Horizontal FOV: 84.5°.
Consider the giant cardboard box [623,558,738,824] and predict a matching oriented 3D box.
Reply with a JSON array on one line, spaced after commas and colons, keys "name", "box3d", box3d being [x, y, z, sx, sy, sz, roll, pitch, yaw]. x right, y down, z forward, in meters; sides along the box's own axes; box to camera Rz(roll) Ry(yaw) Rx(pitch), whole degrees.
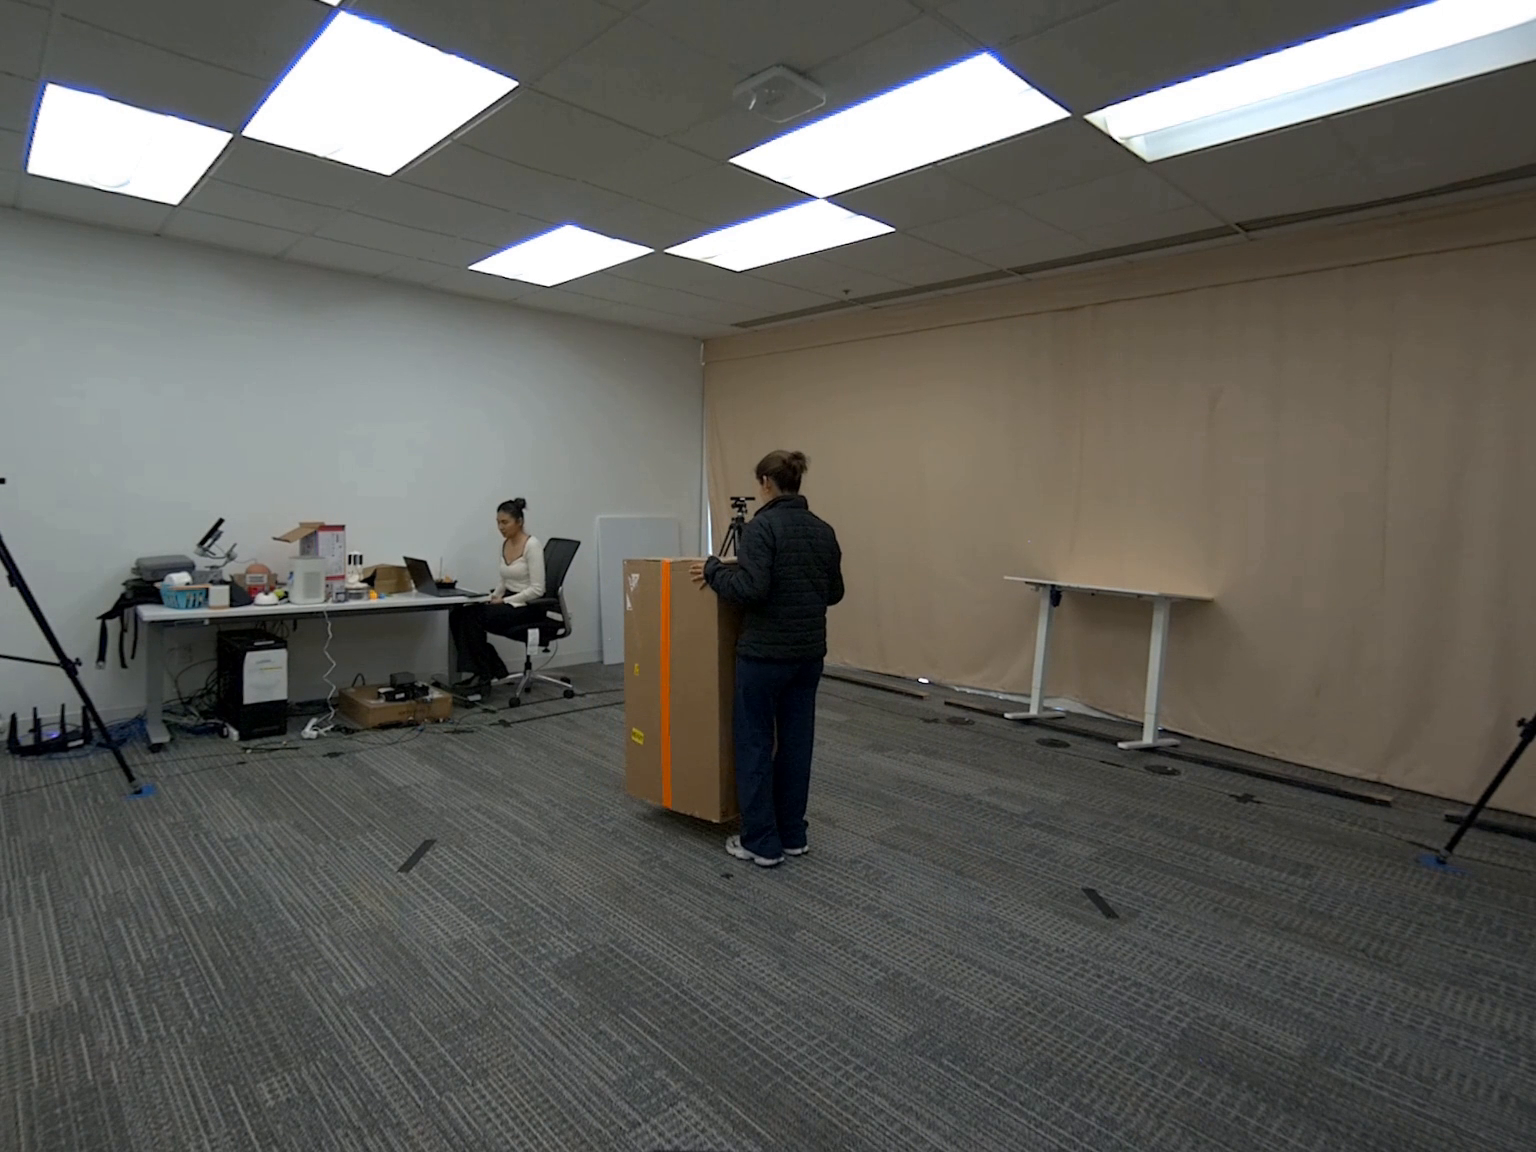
[{"name": "giant cardboard box", "box3d": [-0.282, 0.443, 3.590, 0.591, 1.025, 0.416, 0, 1, 43]}]
